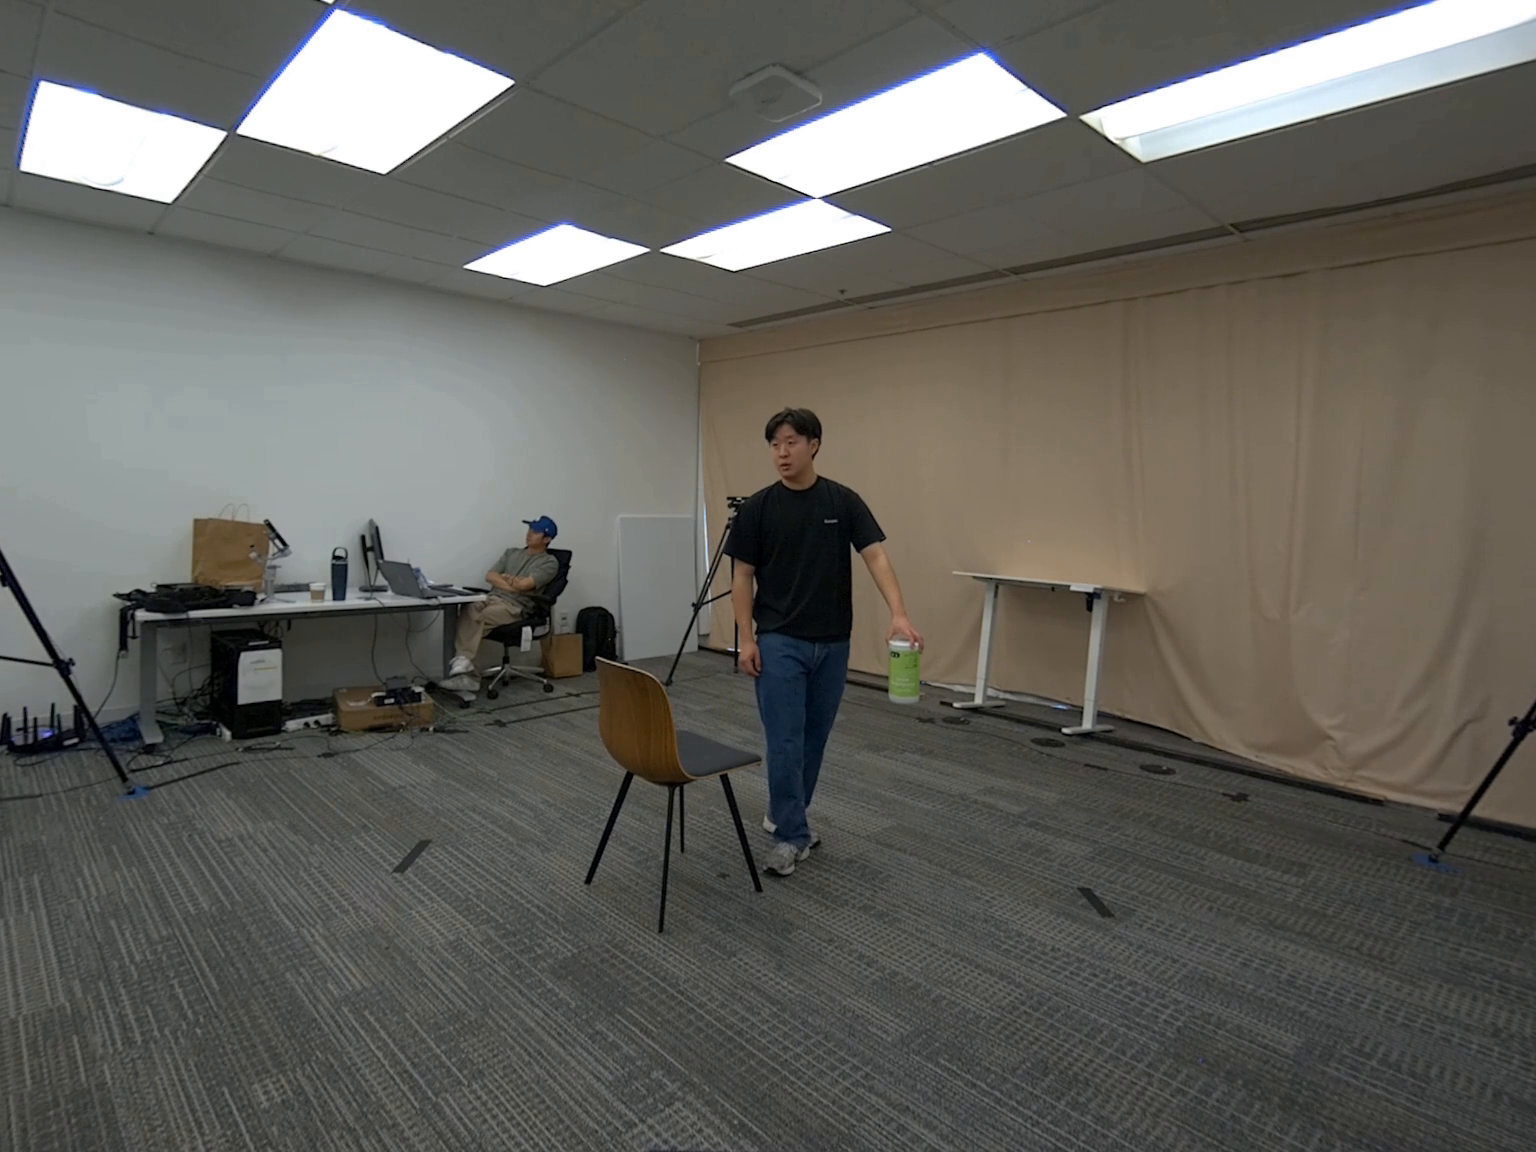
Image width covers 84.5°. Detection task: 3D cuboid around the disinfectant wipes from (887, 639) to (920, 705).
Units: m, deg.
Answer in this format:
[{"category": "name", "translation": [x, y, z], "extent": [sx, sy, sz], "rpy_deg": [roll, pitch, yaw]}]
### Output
[{"category": "disinfectant wipes", "translation": [0.483, 0.340, 3.005], "extent": [0.118, 0.217, 0.118], "rpy_deg": [0, 5, -1]}]
